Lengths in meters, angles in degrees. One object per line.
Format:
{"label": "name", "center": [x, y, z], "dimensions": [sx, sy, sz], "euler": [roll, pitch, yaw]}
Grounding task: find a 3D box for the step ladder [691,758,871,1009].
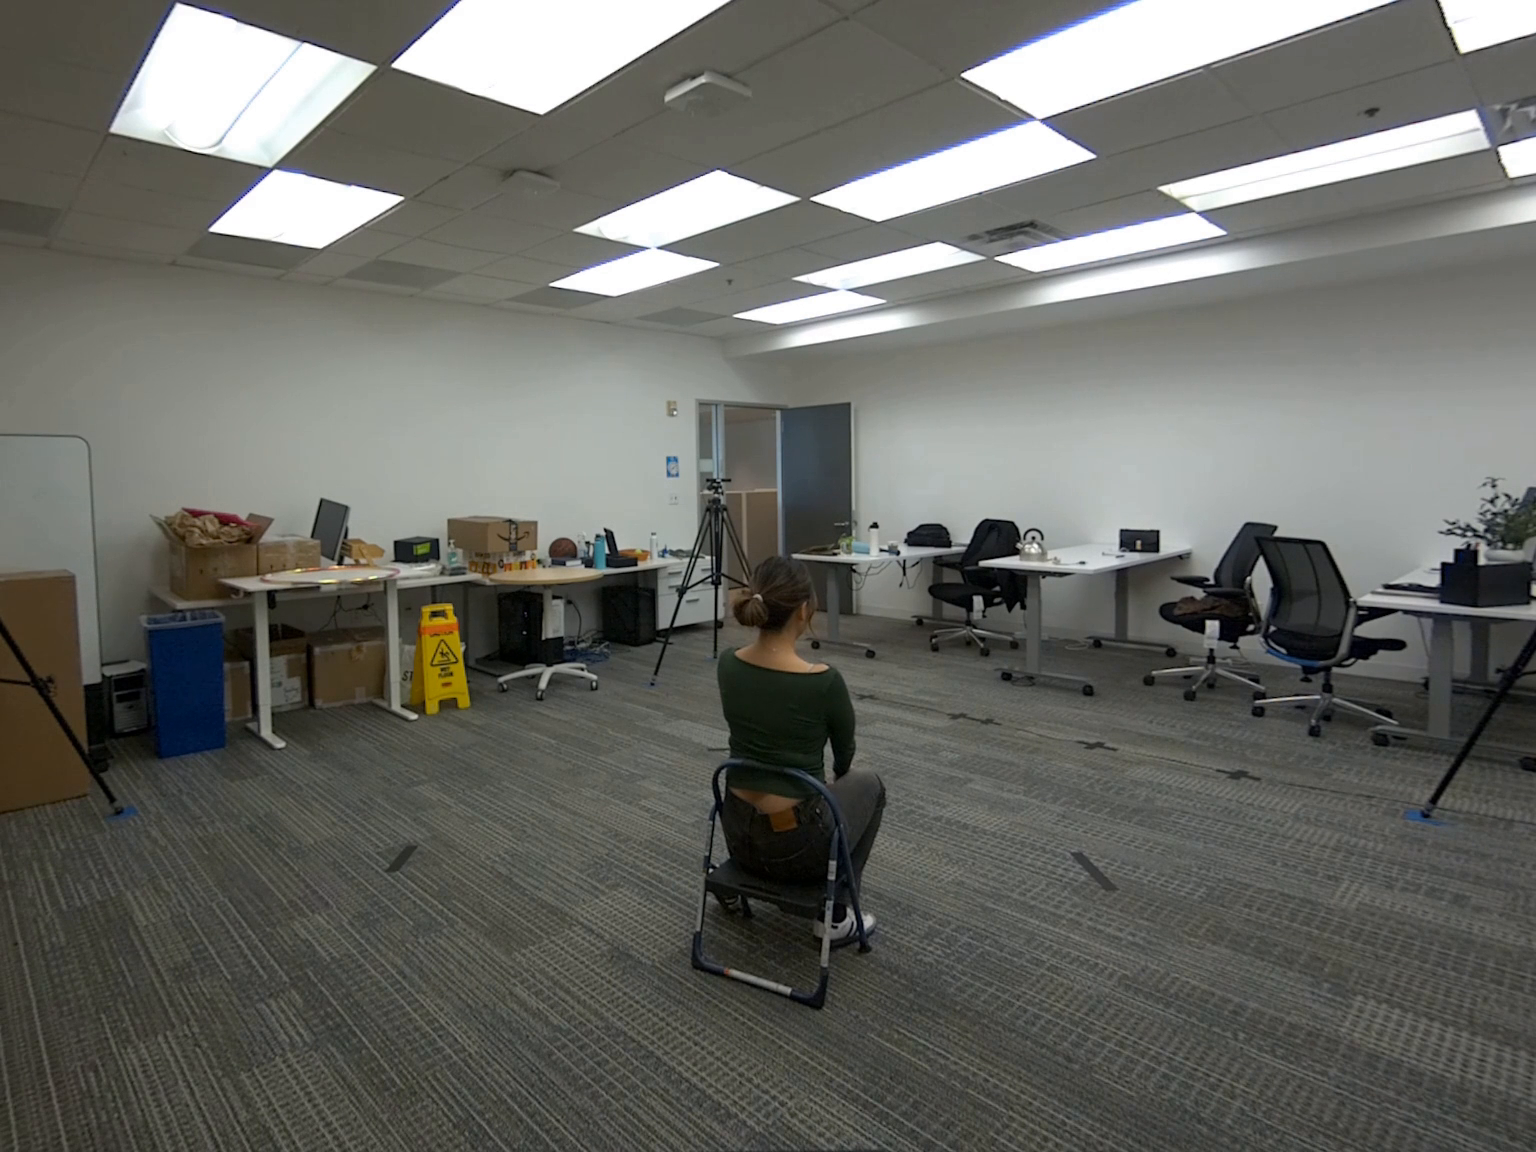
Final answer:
{"label": "step ladder", "center": [0.032, 0.823, 2.468], "dimensions": [0.442, 0.603, 0.342], "euler": [1, 5, 29]}
